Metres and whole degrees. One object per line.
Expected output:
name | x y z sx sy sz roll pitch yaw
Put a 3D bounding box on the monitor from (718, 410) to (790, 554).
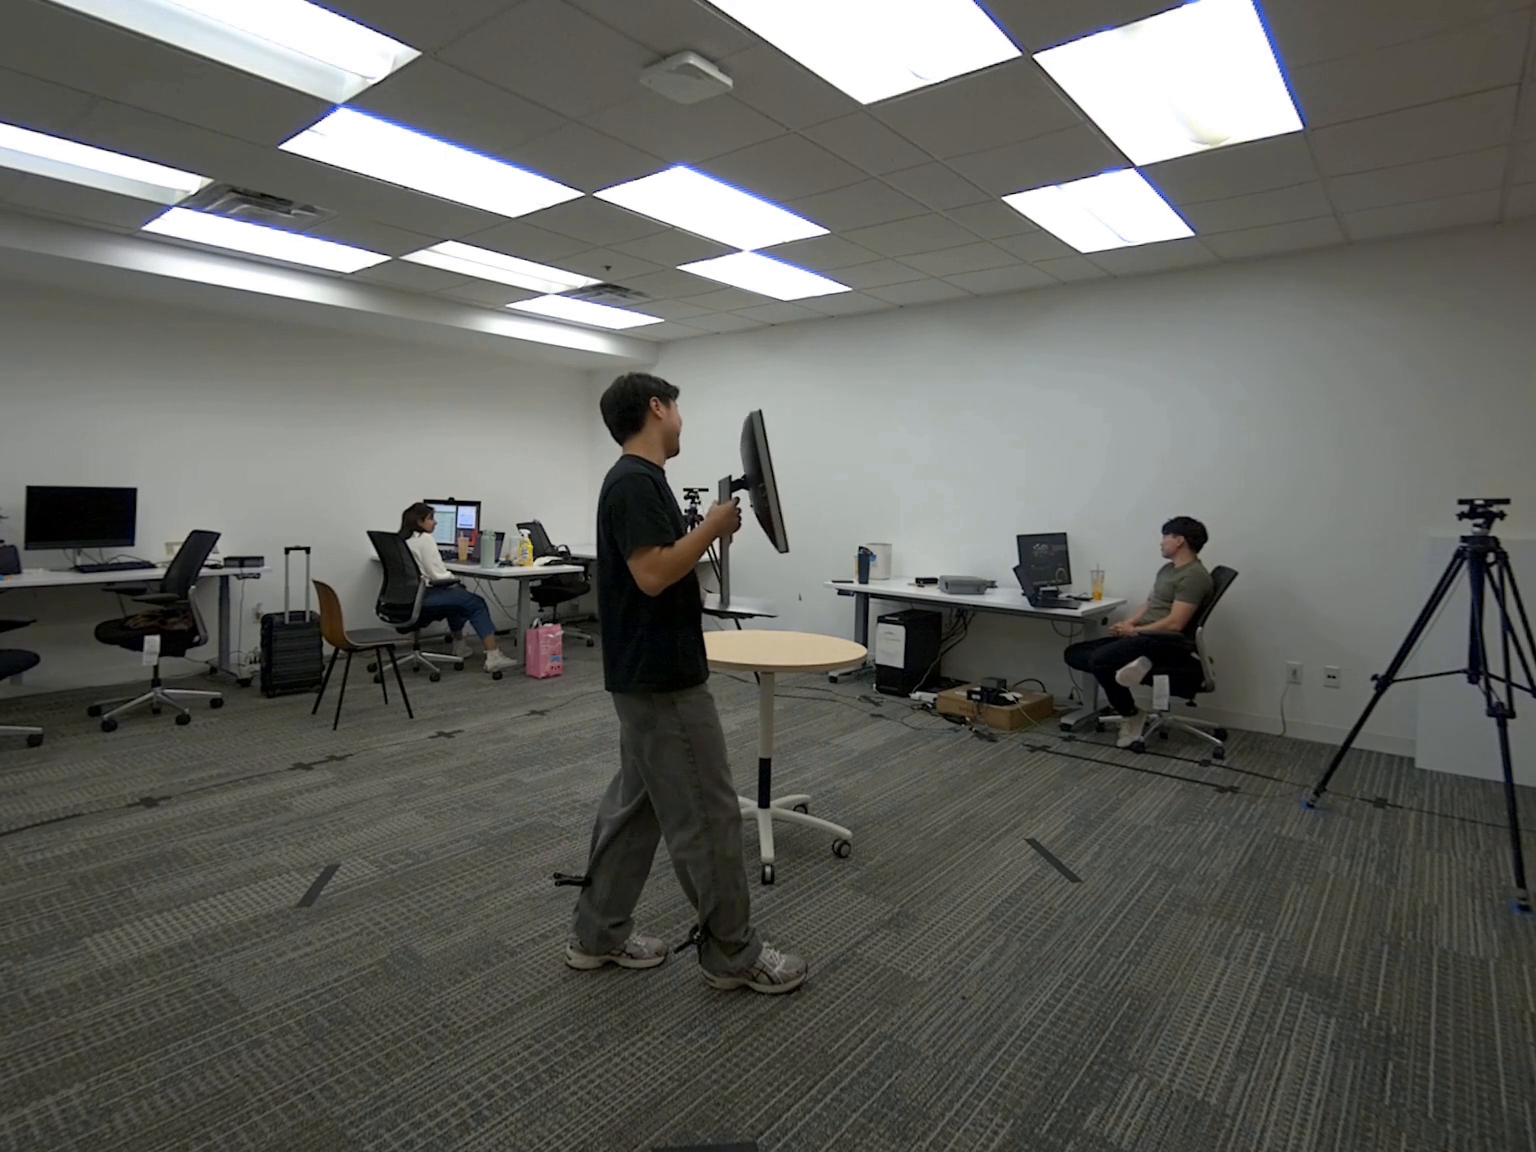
monitor | -0.057 -0.169 2.377 0.222 0.562 0.565 5 7 -2
